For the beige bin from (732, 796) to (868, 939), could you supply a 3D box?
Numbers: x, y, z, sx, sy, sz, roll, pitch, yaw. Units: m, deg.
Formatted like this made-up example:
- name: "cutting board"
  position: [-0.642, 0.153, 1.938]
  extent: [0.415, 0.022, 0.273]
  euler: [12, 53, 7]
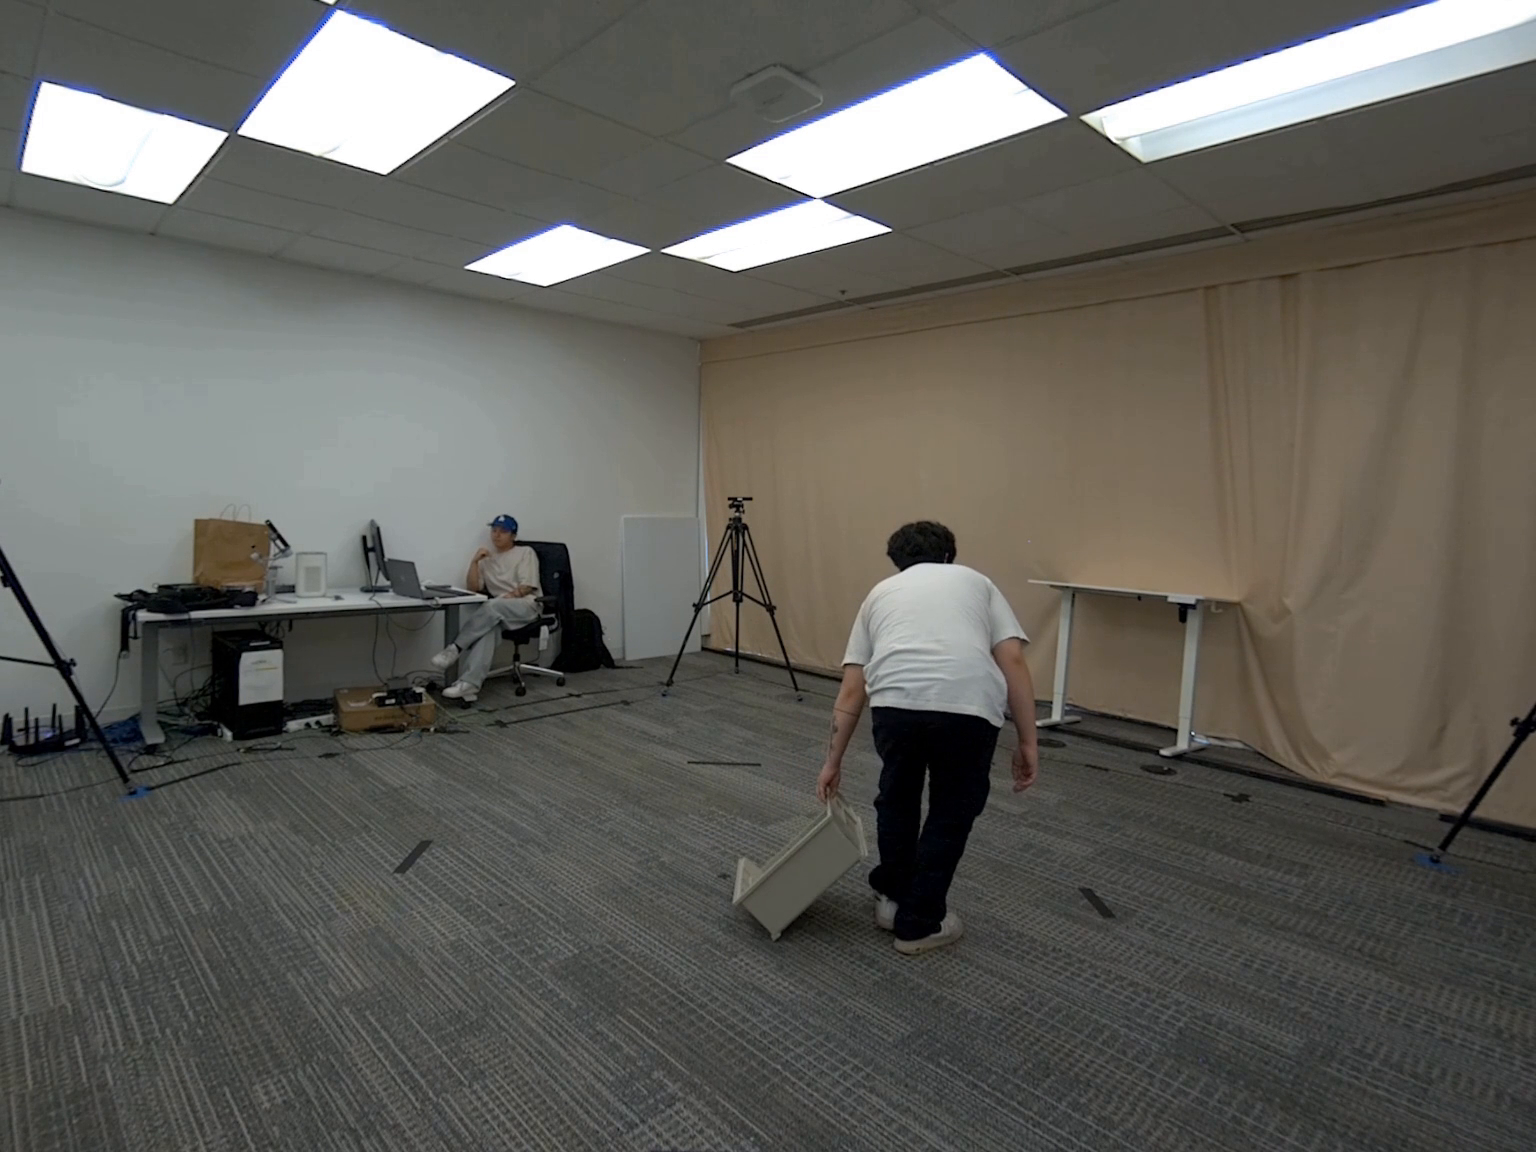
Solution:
- name: "beige bin"
  position: [0.100, 0.932, 2.796]
  extent: [0.422, 0.189, 0.378]
  euler: [-43, 2, 5]
